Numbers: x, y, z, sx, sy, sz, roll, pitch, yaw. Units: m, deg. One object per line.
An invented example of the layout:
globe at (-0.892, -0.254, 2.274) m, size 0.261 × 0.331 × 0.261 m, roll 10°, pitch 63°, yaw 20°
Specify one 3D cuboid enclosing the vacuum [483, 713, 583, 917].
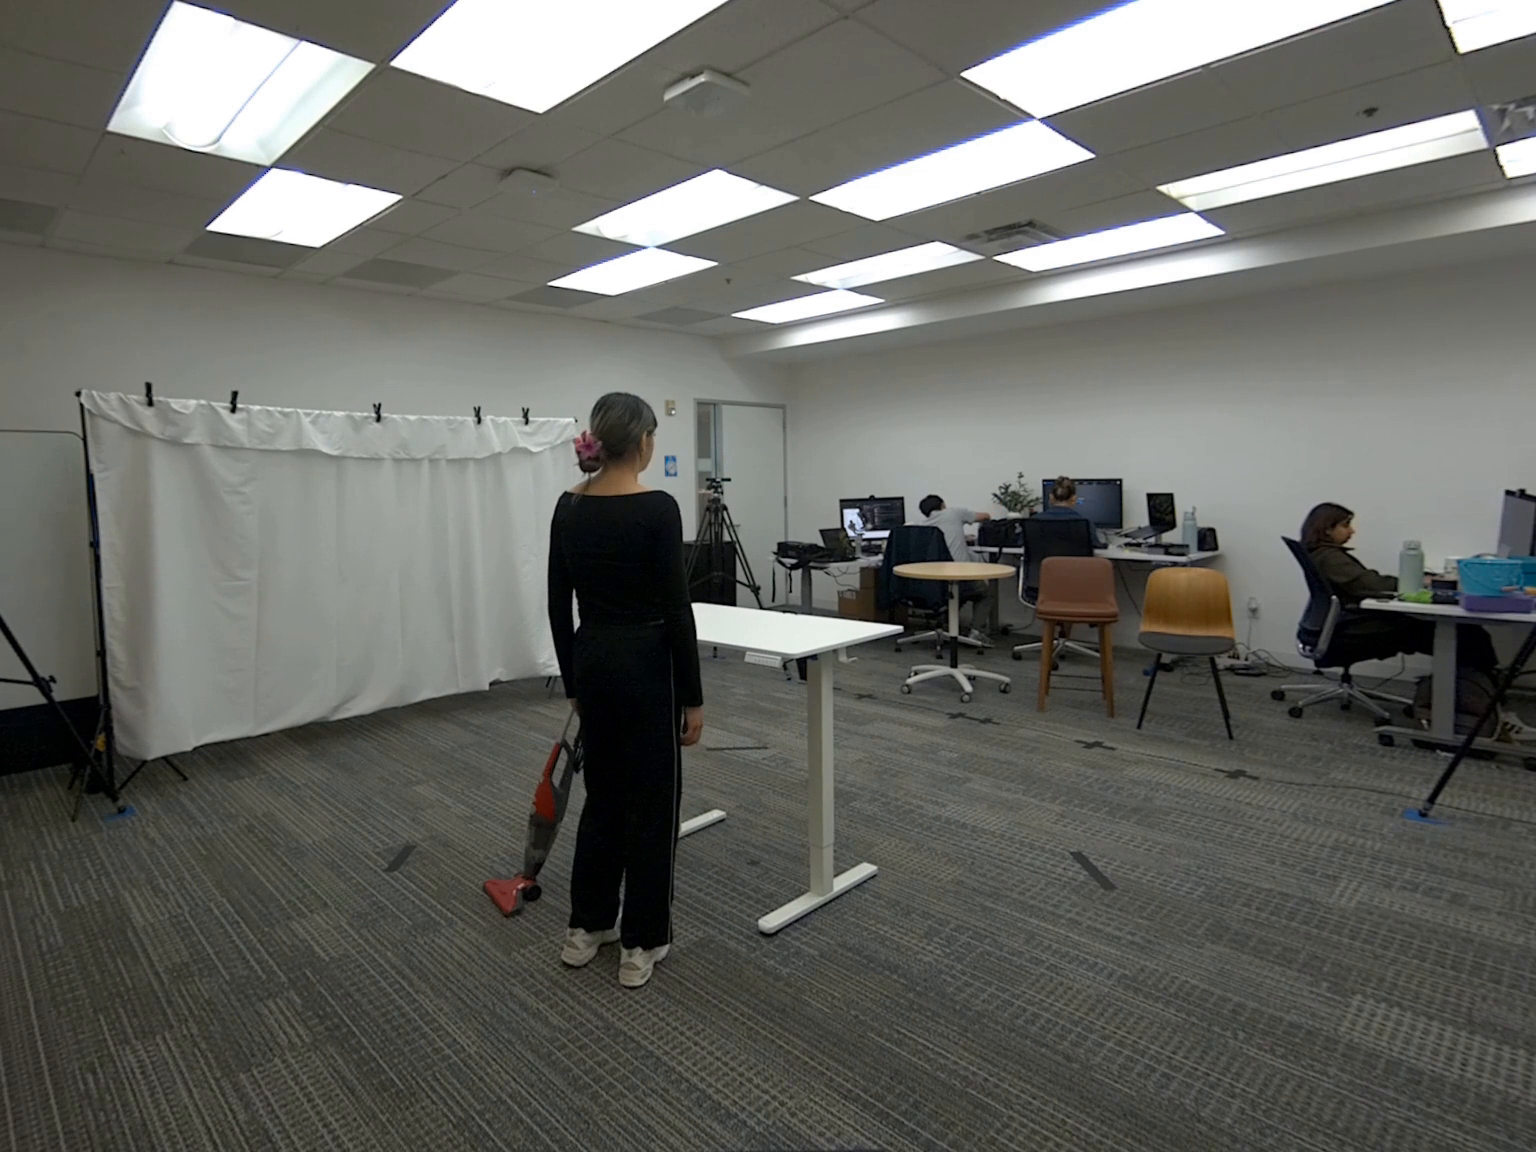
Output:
vacuum at (-0.693, 0.592, 2.984) m, size 0.139 × 1.056 × 0.260 m, roll 26°, pitch -15°, yaw -35°
